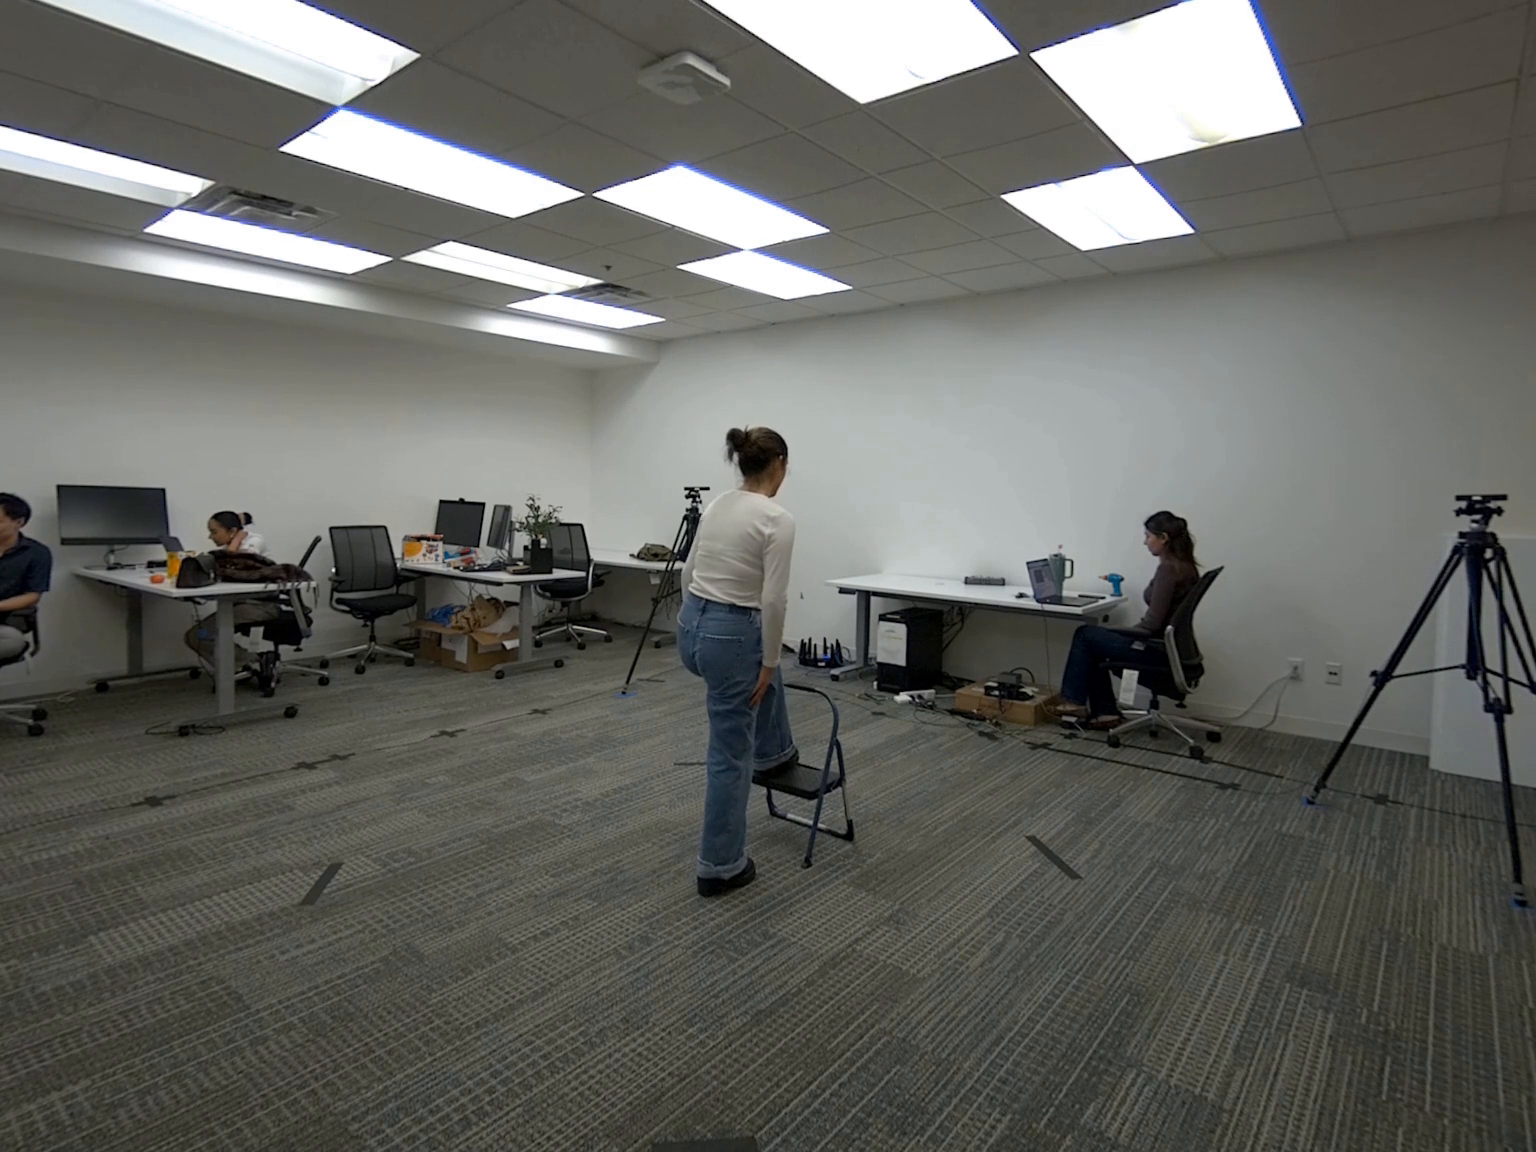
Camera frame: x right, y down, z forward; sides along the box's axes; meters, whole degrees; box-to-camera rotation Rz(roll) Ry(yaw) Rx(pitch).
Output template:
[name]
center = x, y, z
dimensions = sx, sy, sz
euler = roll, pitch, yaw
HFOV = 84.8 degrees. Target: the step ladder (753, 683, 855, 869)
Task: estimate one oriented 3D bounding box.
[step ladder]
center = 0.079, 0.740, 3.374
dimensions = 0.445, 0.604, 0.339
euler = 4, 4, 38
